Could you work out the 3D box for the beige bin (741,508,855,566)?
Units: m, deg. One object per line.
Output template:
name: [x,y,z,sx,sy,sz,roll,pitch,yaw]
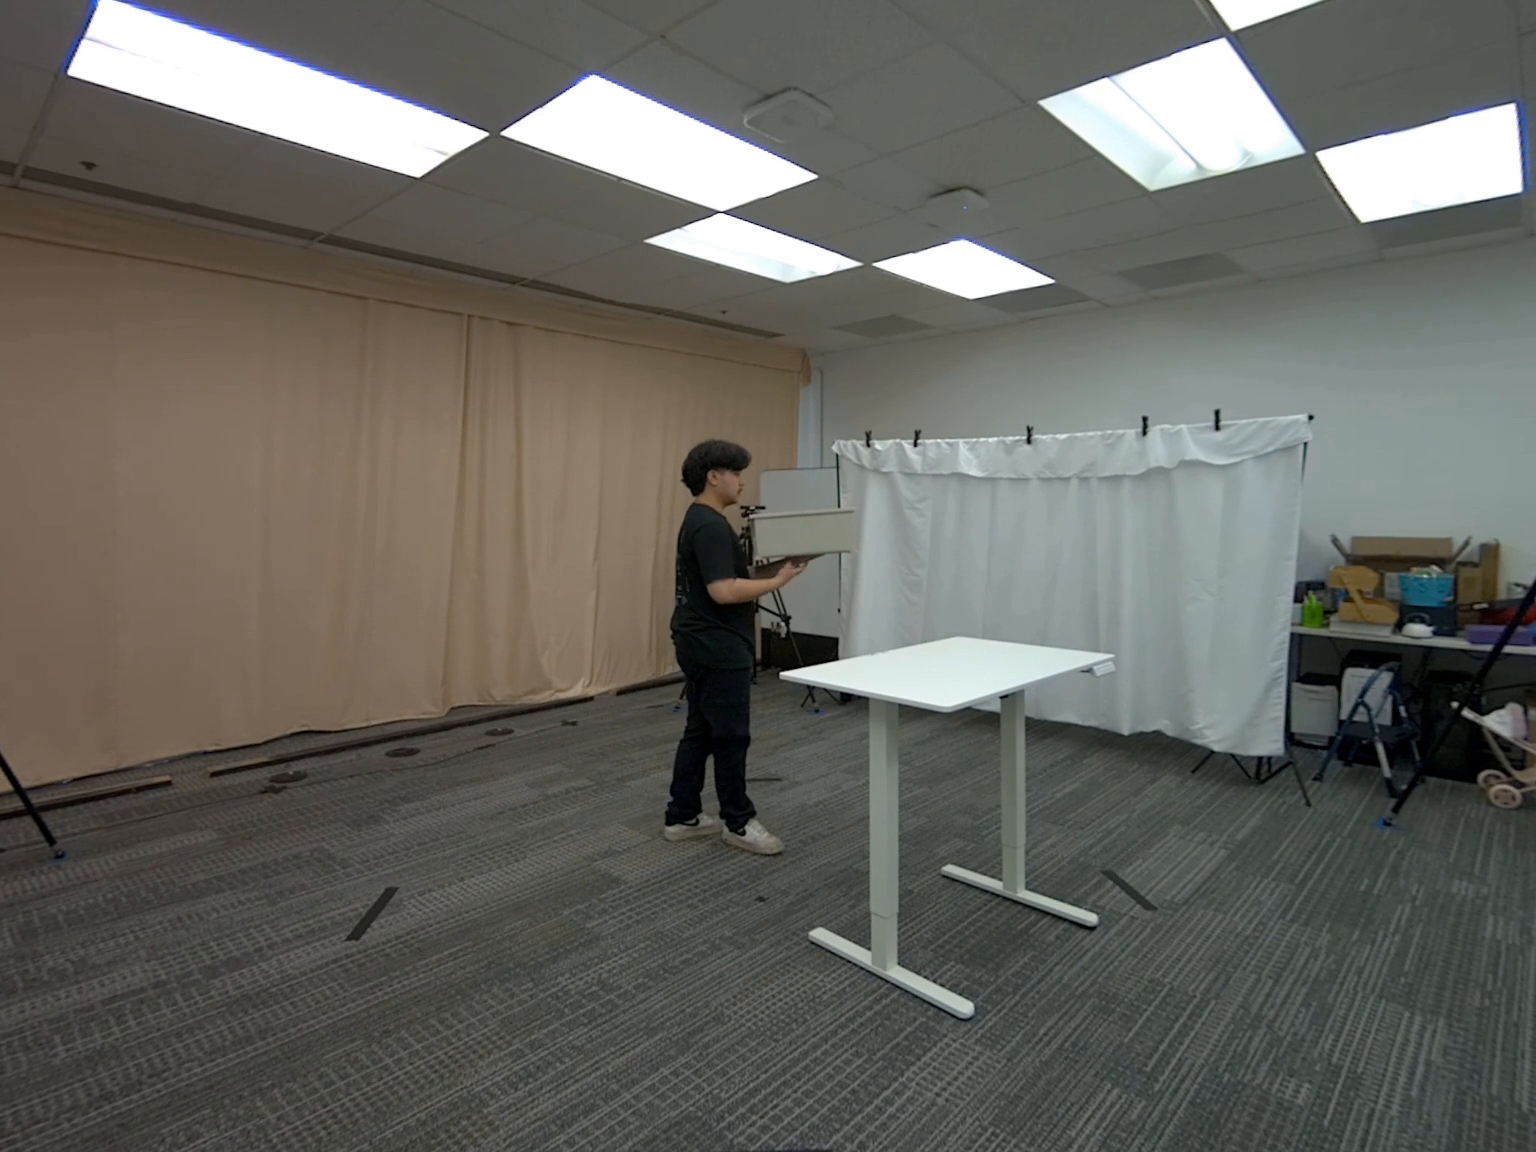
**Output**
beige bin: [0.138,-0.167,3.501,0.422,0.189,0.378,-4,1,-1]
